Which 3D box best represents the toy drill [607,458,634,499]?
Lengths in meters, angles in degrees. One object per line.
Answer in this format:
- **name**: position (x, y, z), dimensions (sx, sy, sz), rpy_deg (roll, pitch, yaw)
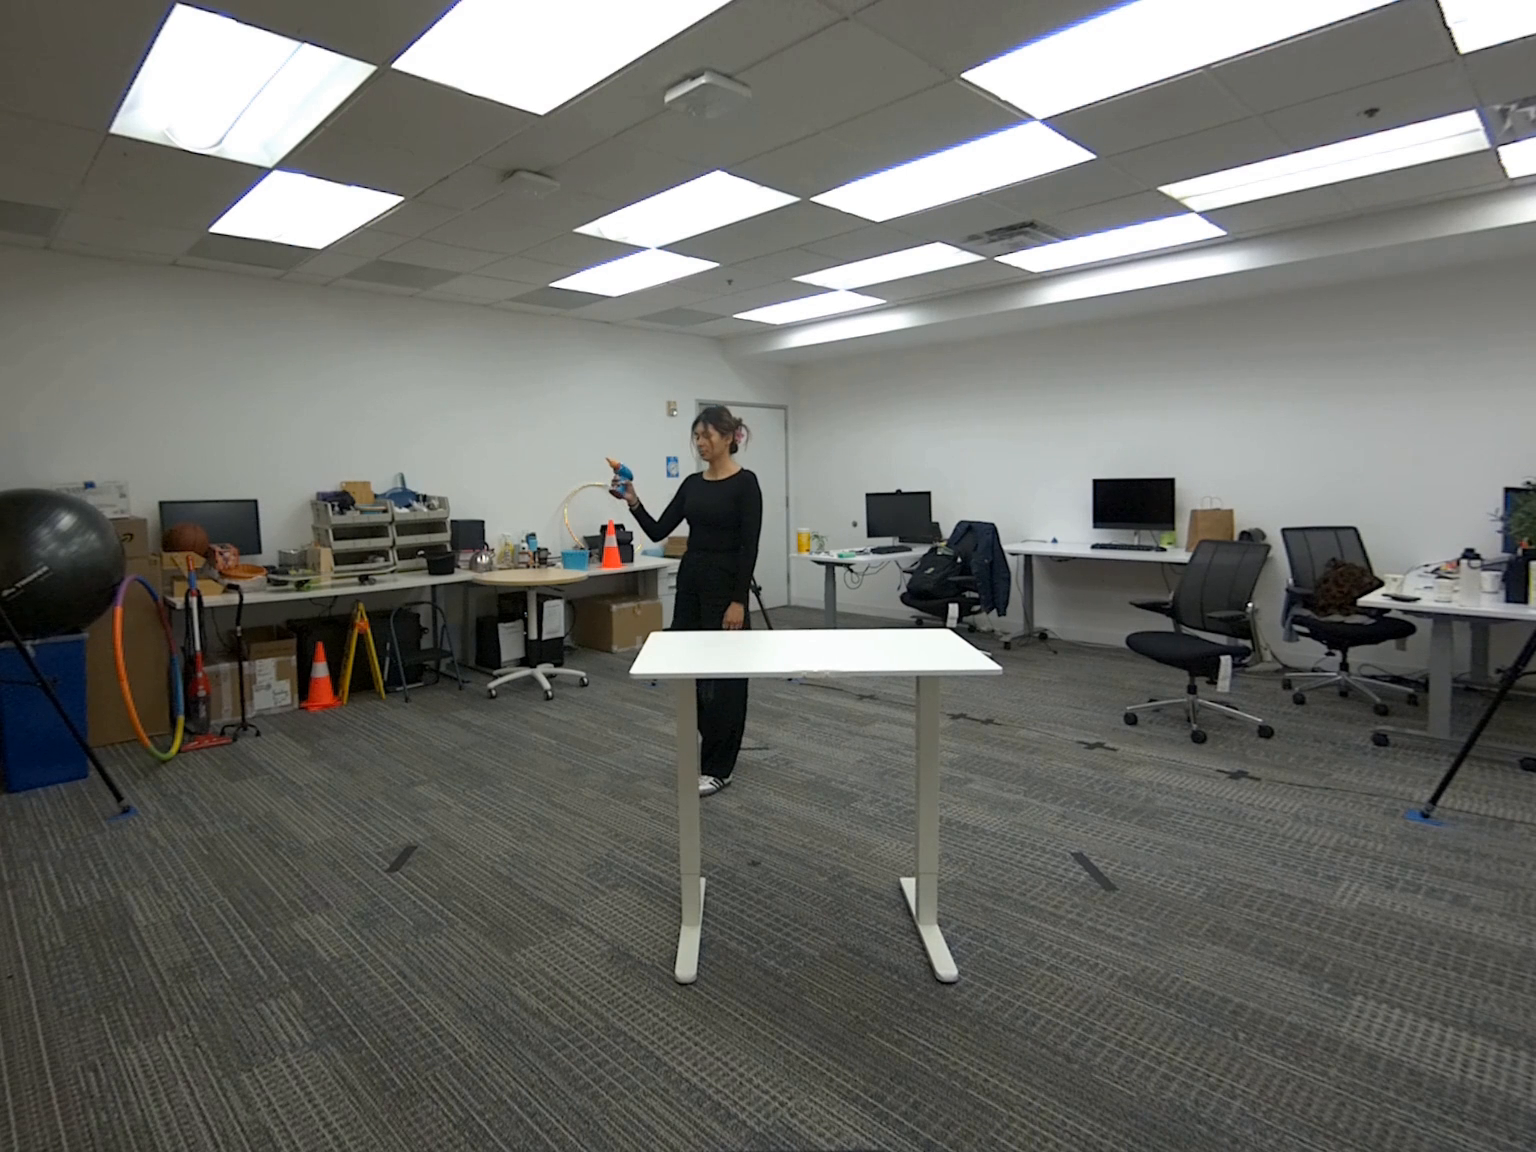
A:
- **toy drill**: position (-0.658, -0.432, 3.719), dimensions (0.063, 0.148, 0.163), rpy_deg (-6, -36, 39)
